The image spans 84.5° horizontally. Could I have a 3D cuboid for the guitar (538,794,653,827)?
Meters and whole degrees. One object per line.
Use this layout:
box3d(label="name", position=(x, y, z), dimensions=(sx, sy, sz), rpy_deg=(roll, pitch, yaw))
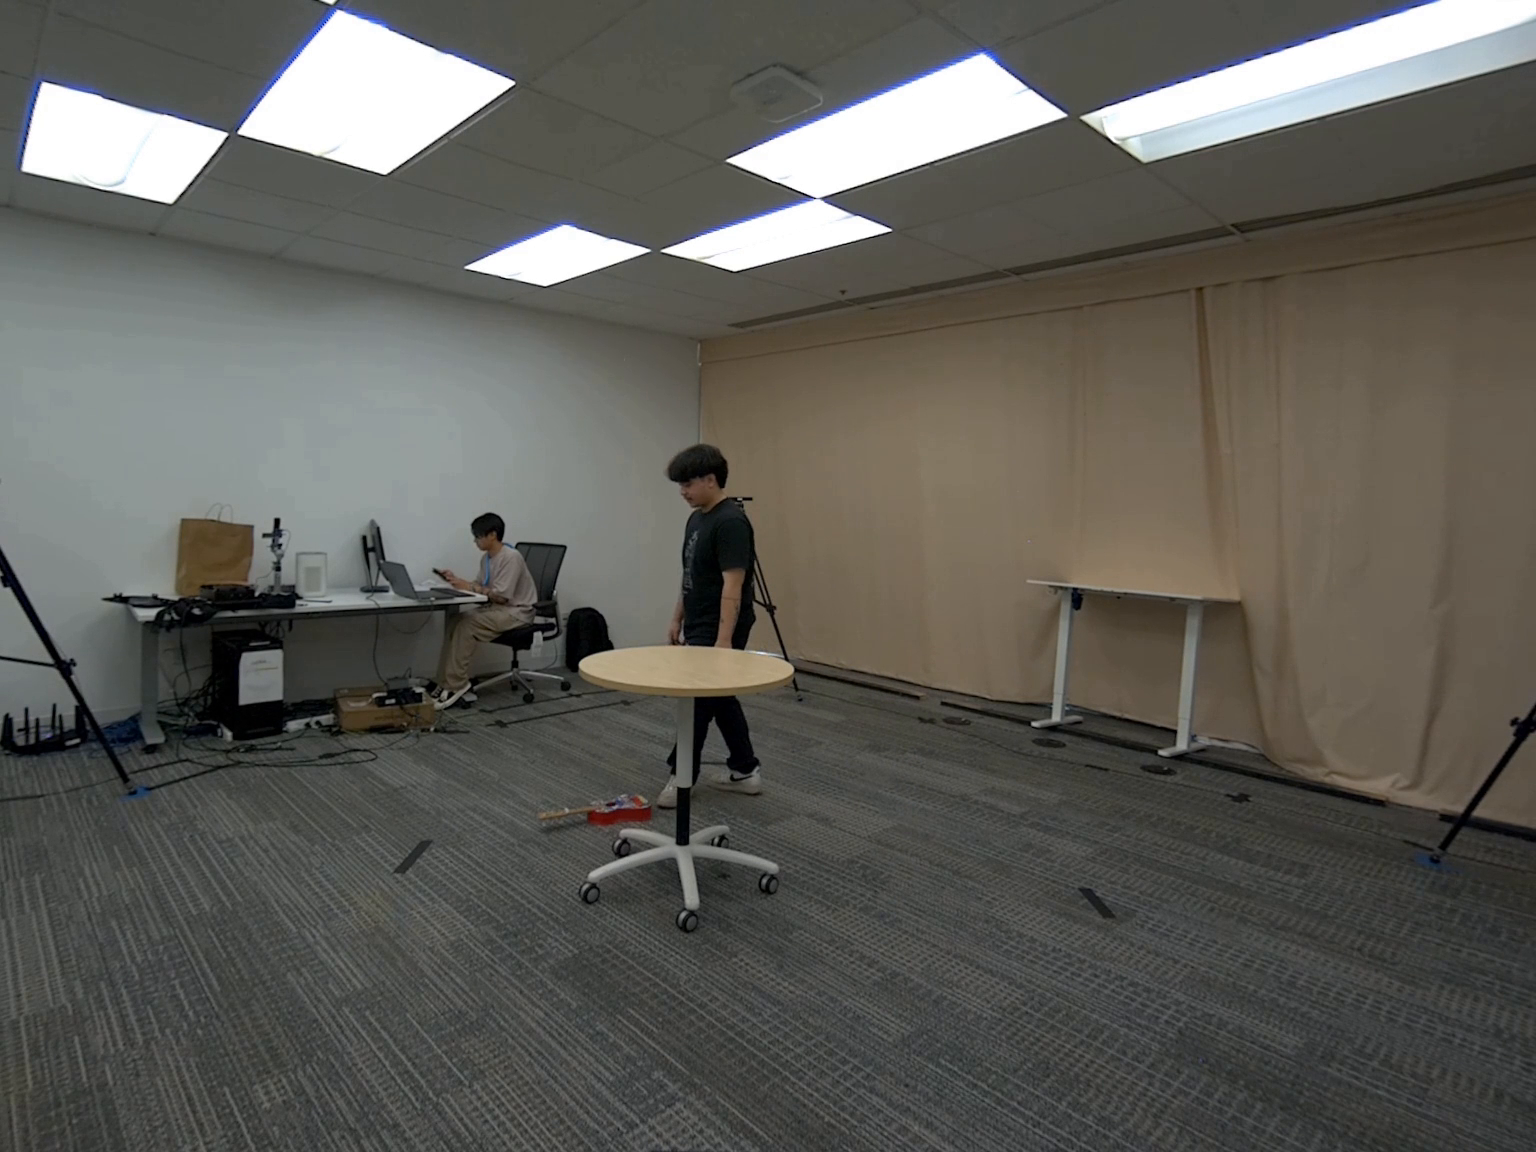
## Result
box3d(label="guitar", position=(-0.766, 1.016, 3.630), dimensions=(0.490, 0.070, 0.197), rpy_deg=(0, 6, -22))
